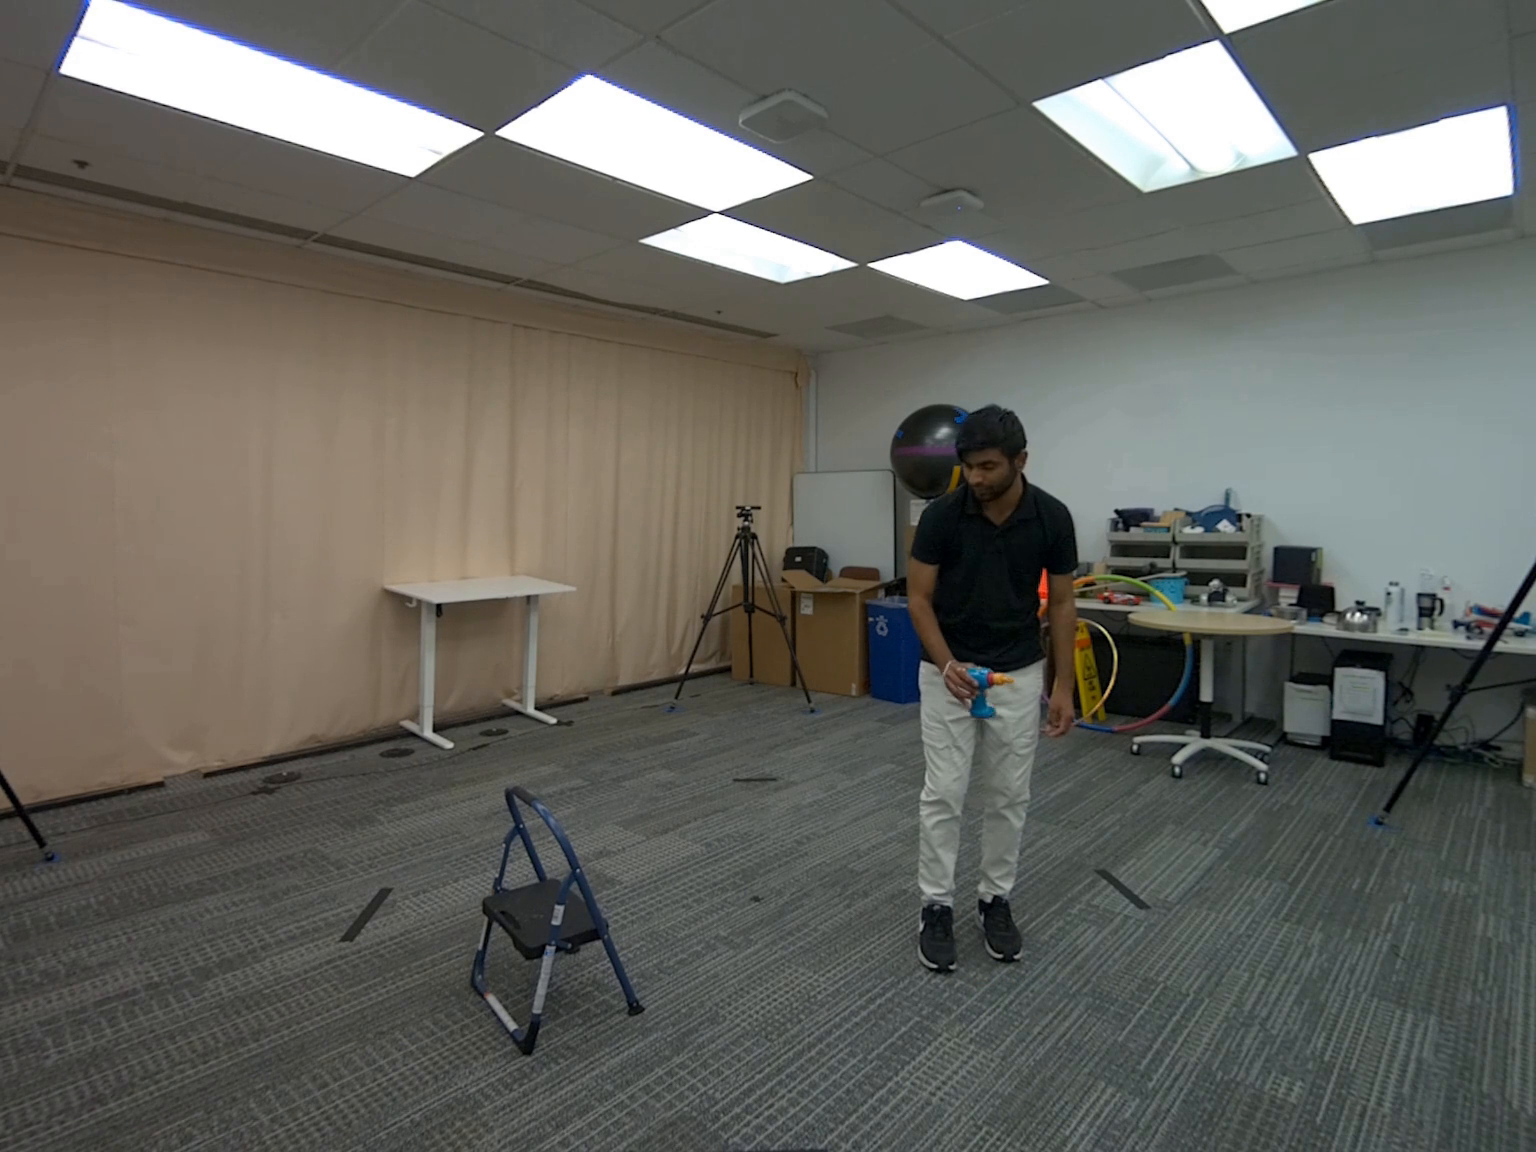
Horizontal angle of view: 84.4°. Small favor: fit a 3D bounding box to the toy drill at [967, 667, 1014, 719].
[{"bbox_3d":[0.615,0.334,2.369,0.059,0.146,0.175,-5,1,-38],"label":"toy drill"}]
